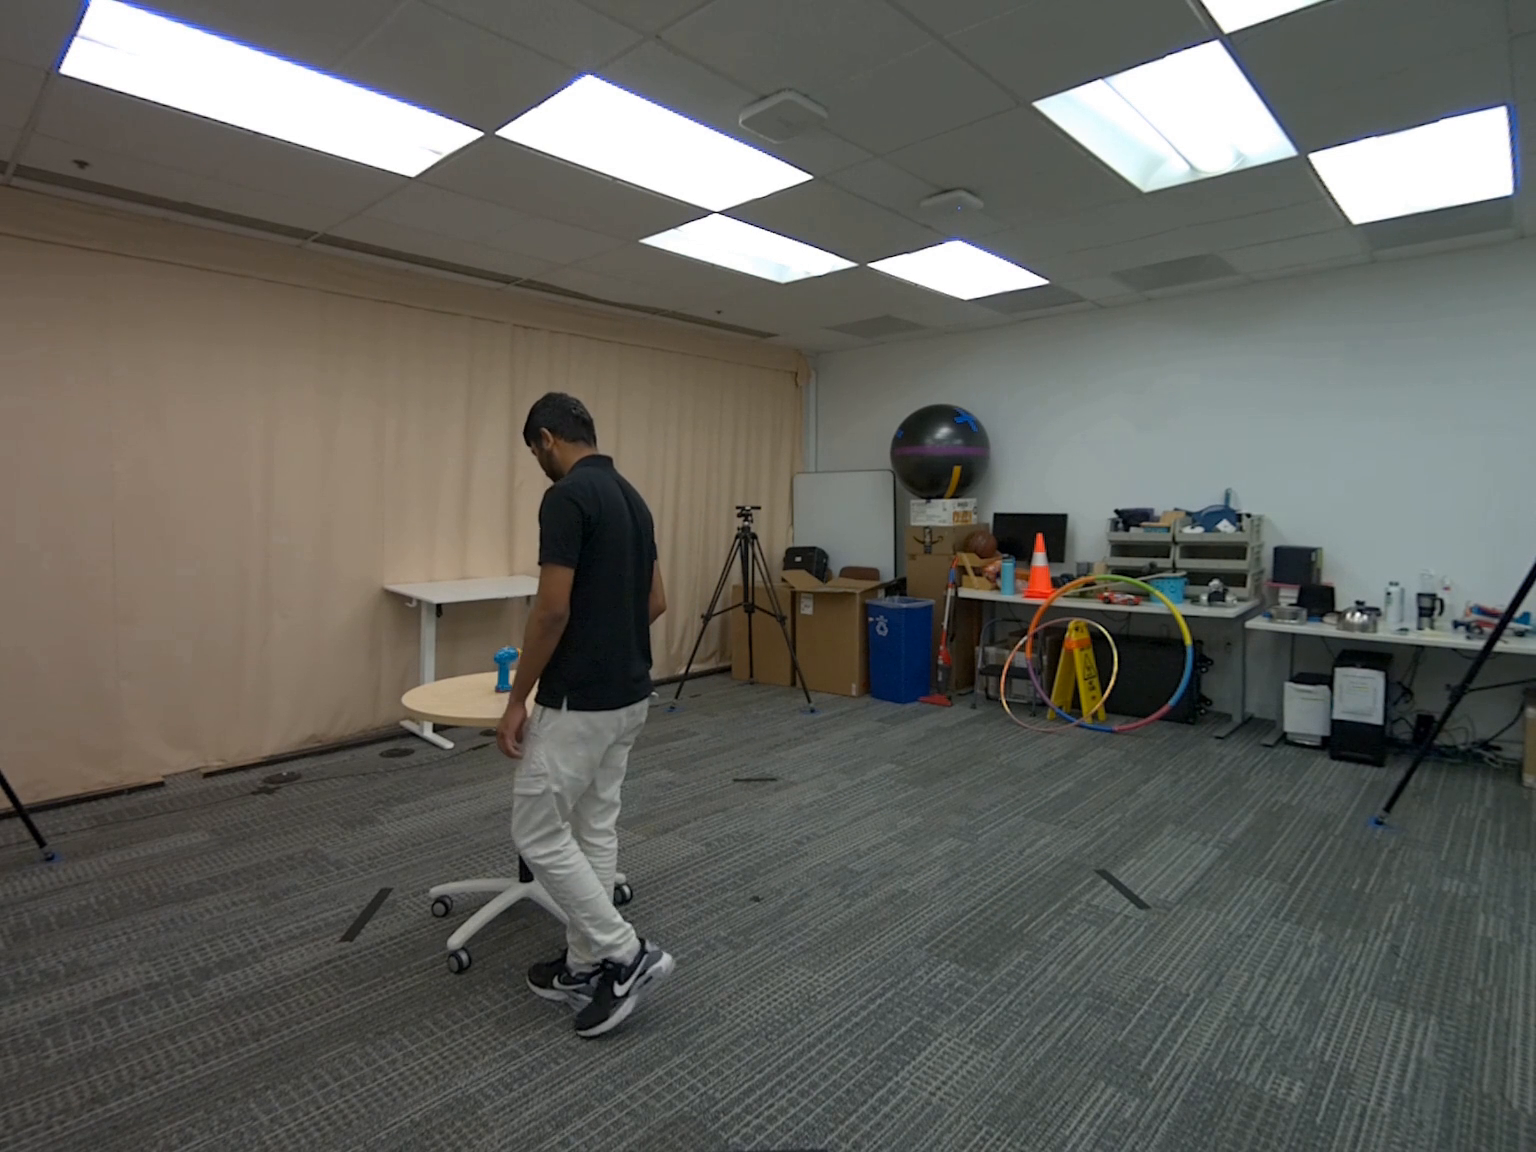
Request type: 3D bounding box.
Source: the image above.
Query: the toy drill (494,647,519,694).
[{"bbox_3d":[-0.872,0.308,2.822,0.061,0.146,0.169,-2,3,5],"label":"toy drill"}]
